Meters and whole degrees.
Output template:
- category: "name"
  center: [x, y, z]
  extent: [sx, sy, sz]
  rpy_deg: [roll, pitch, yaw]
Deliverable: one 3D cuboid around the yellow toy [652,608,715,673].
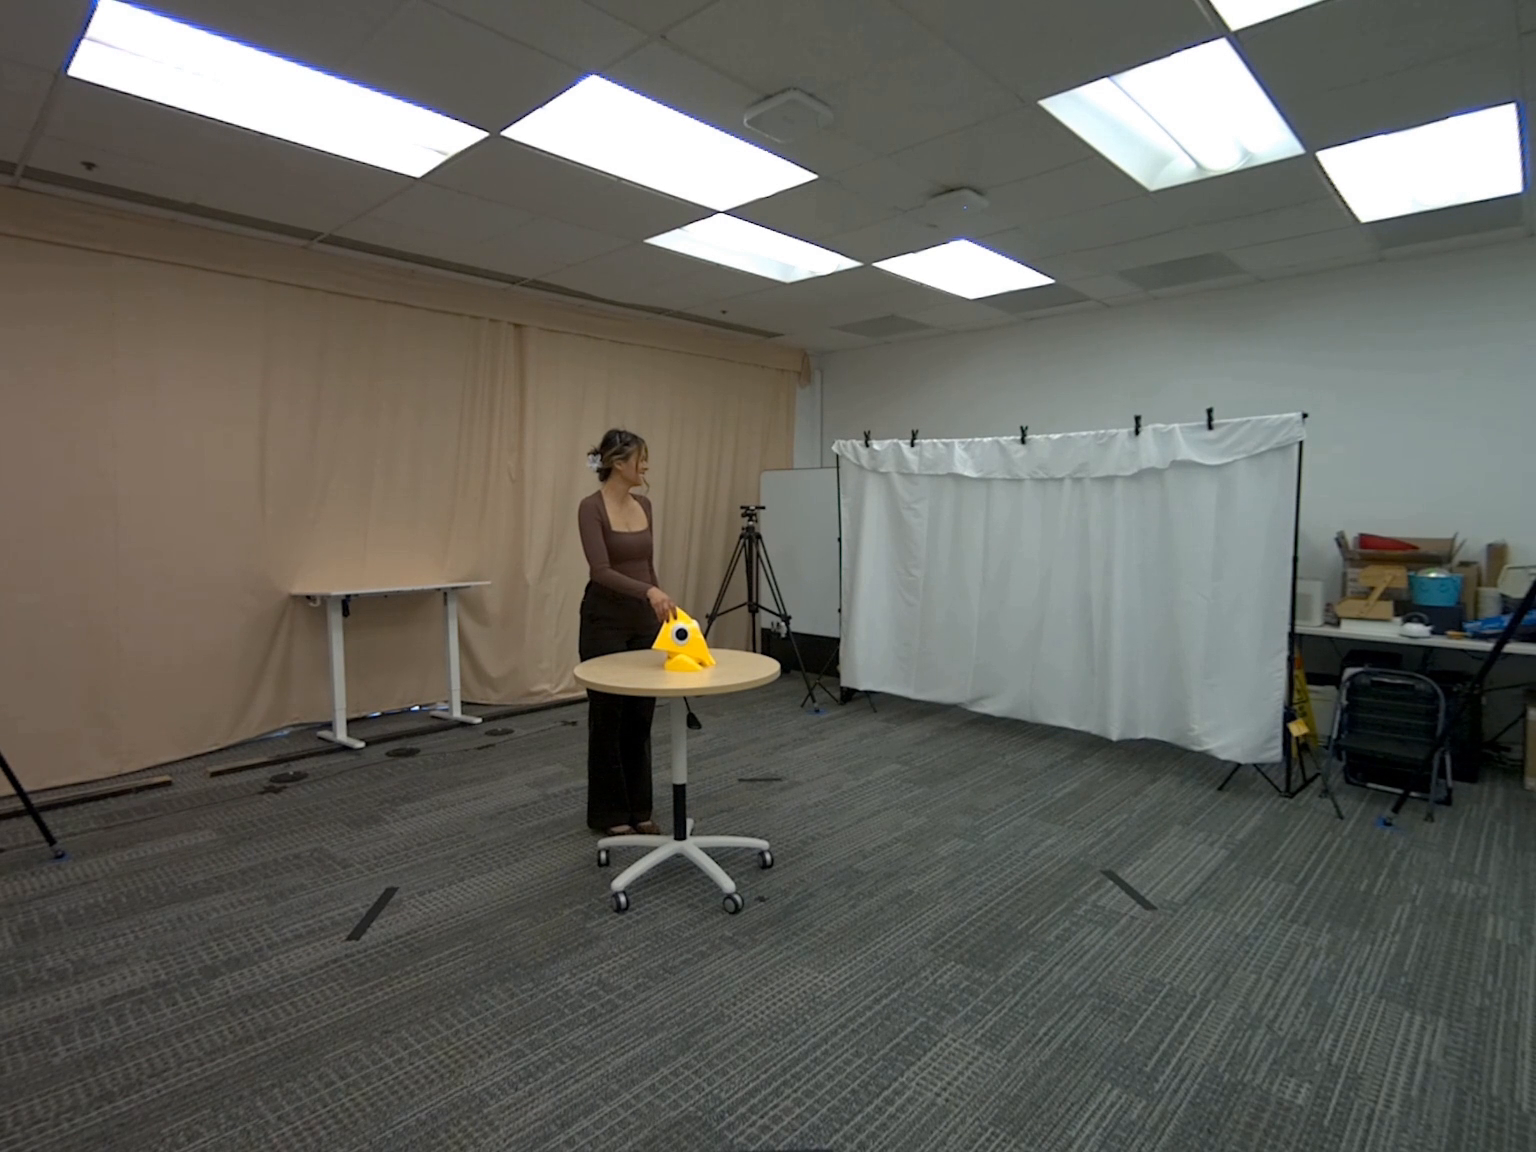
- category: "yellow toy"
  center: [-0.304, 0.222, 3.134]
  extent: [0.197, 0.230, 0.201]
  rpy_deg: [1, 5, 22]
